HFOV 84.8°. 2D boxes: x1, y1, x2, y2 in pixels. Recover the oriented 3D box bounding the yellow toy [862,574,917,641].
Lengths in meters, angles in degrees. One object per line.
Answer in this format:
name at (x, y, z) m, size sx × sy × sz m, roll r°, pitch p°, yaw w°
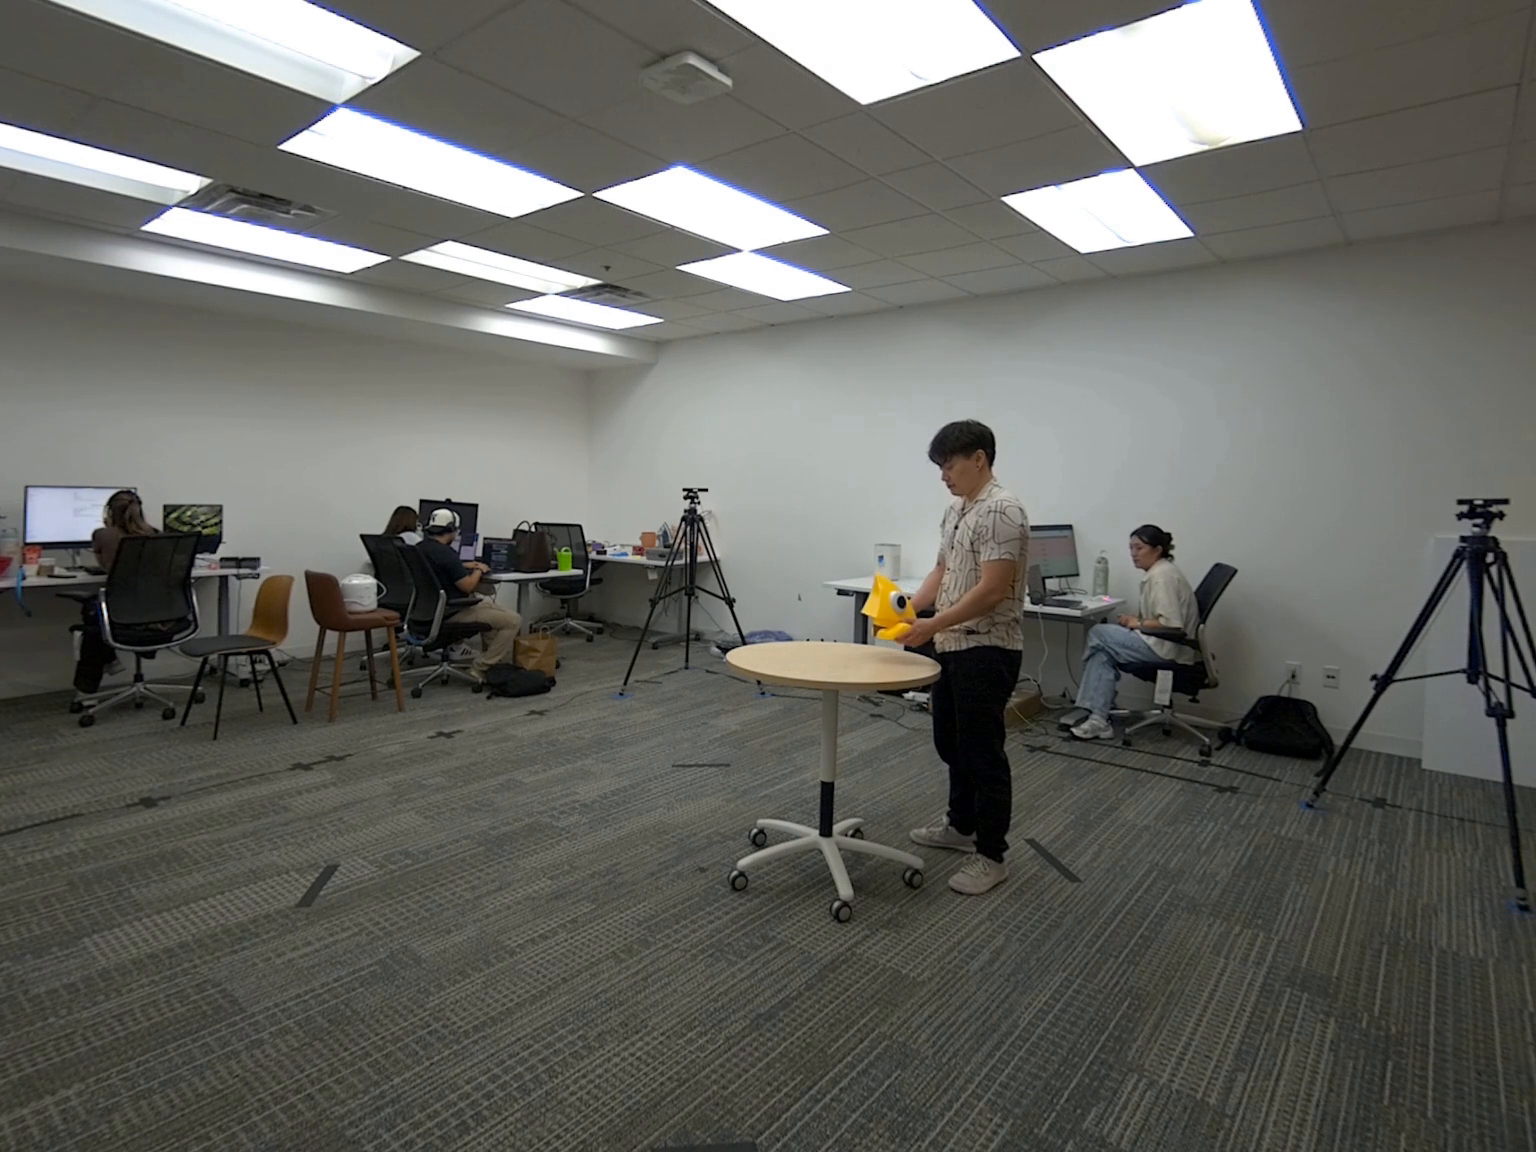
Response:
yellow toy at (0.454, 0.103, 3.101) m, size 0.192 × 0.230 × 0.207 m, roll -3°, pitch 2°, yaw -8°
